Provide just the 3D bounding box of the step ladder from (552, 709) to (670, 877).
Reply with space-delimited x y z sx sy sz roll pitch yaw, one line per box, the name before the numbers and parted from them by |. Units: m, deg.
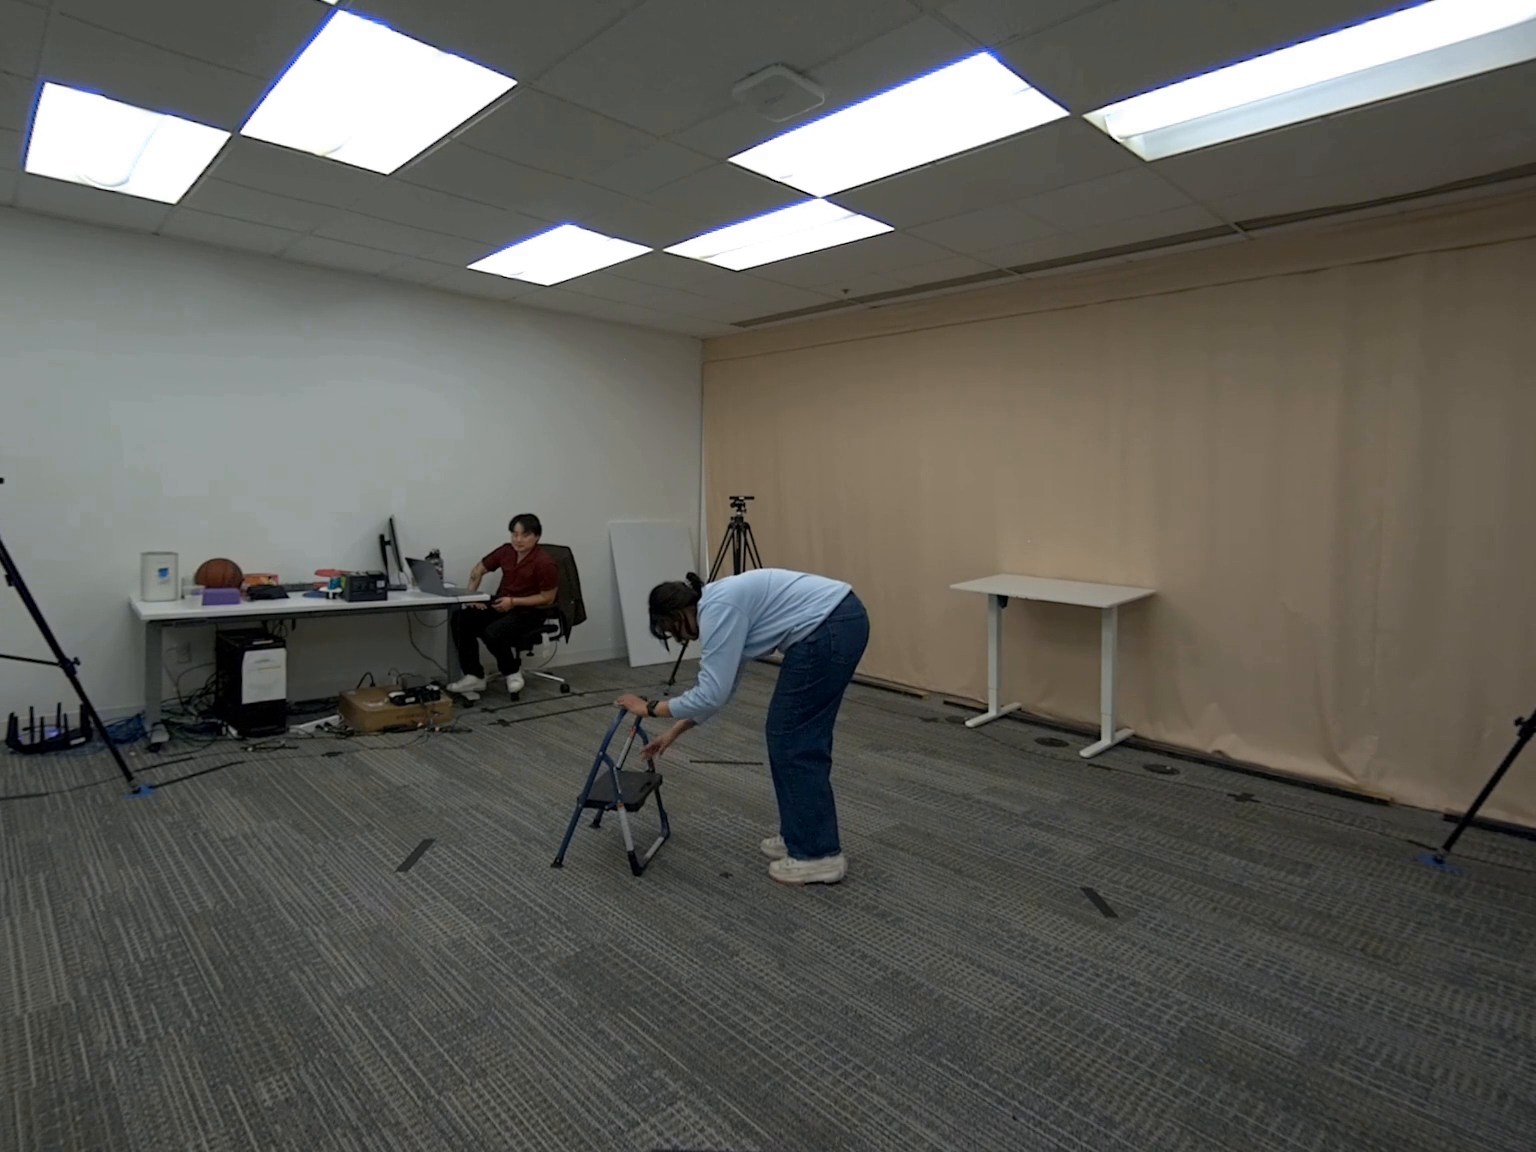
step ladder | -0.600 0.770 3.291 0.352 0.604 0.428 2 4 10
